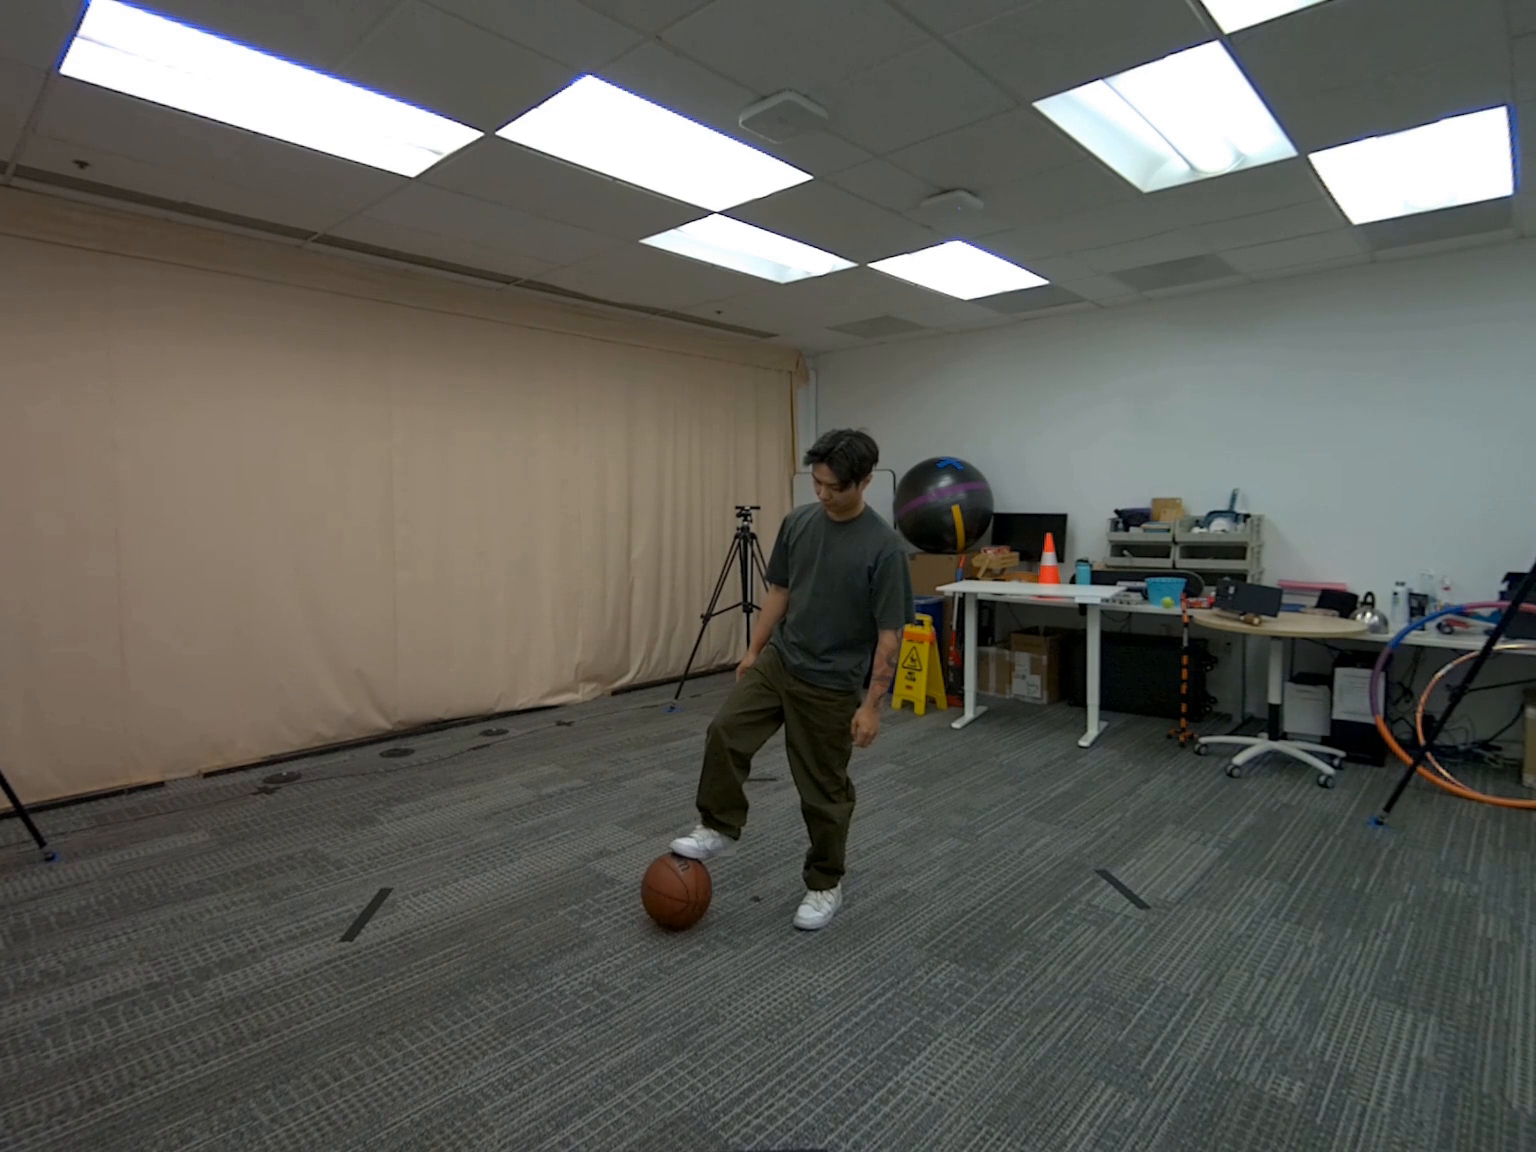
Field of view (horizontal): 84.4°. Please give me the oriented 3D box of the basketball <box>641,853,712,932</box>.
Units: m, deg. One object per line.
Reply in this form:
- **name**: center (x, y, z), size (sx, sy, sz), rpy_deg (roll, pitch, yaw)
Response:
- **basketball**: center (-0.300, 1.045, 2.801), size (0.236, 0.235, 0.237), rpy_deg (0, 4, -2)
